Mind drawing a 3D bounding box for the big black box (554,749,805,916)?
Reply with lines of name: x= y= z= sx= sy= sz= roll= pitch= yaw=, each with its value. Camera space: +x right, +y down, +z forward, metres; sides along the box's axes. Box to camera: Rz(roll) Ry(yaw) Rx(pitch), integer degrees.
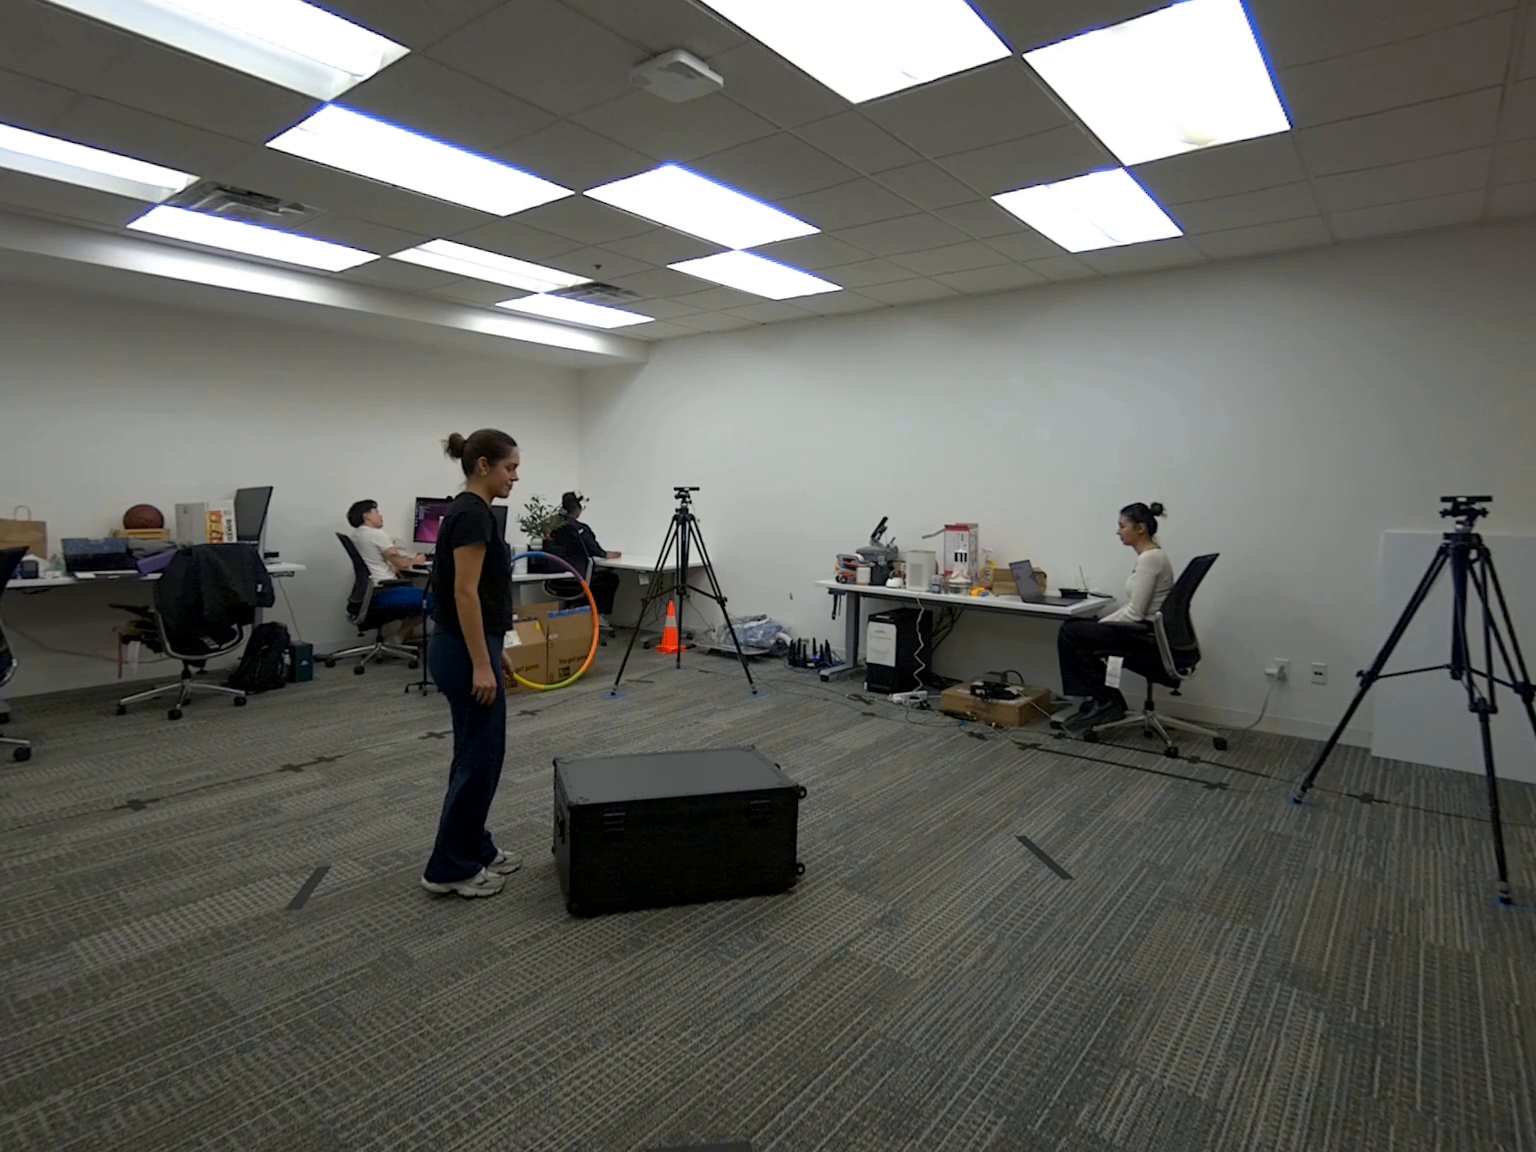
big black box: x=-0.304 y=0.881 z=3.055 sx=0.846 sy=0.395 sz=0.533 roll=-1 pitch=5 yaw=-18
